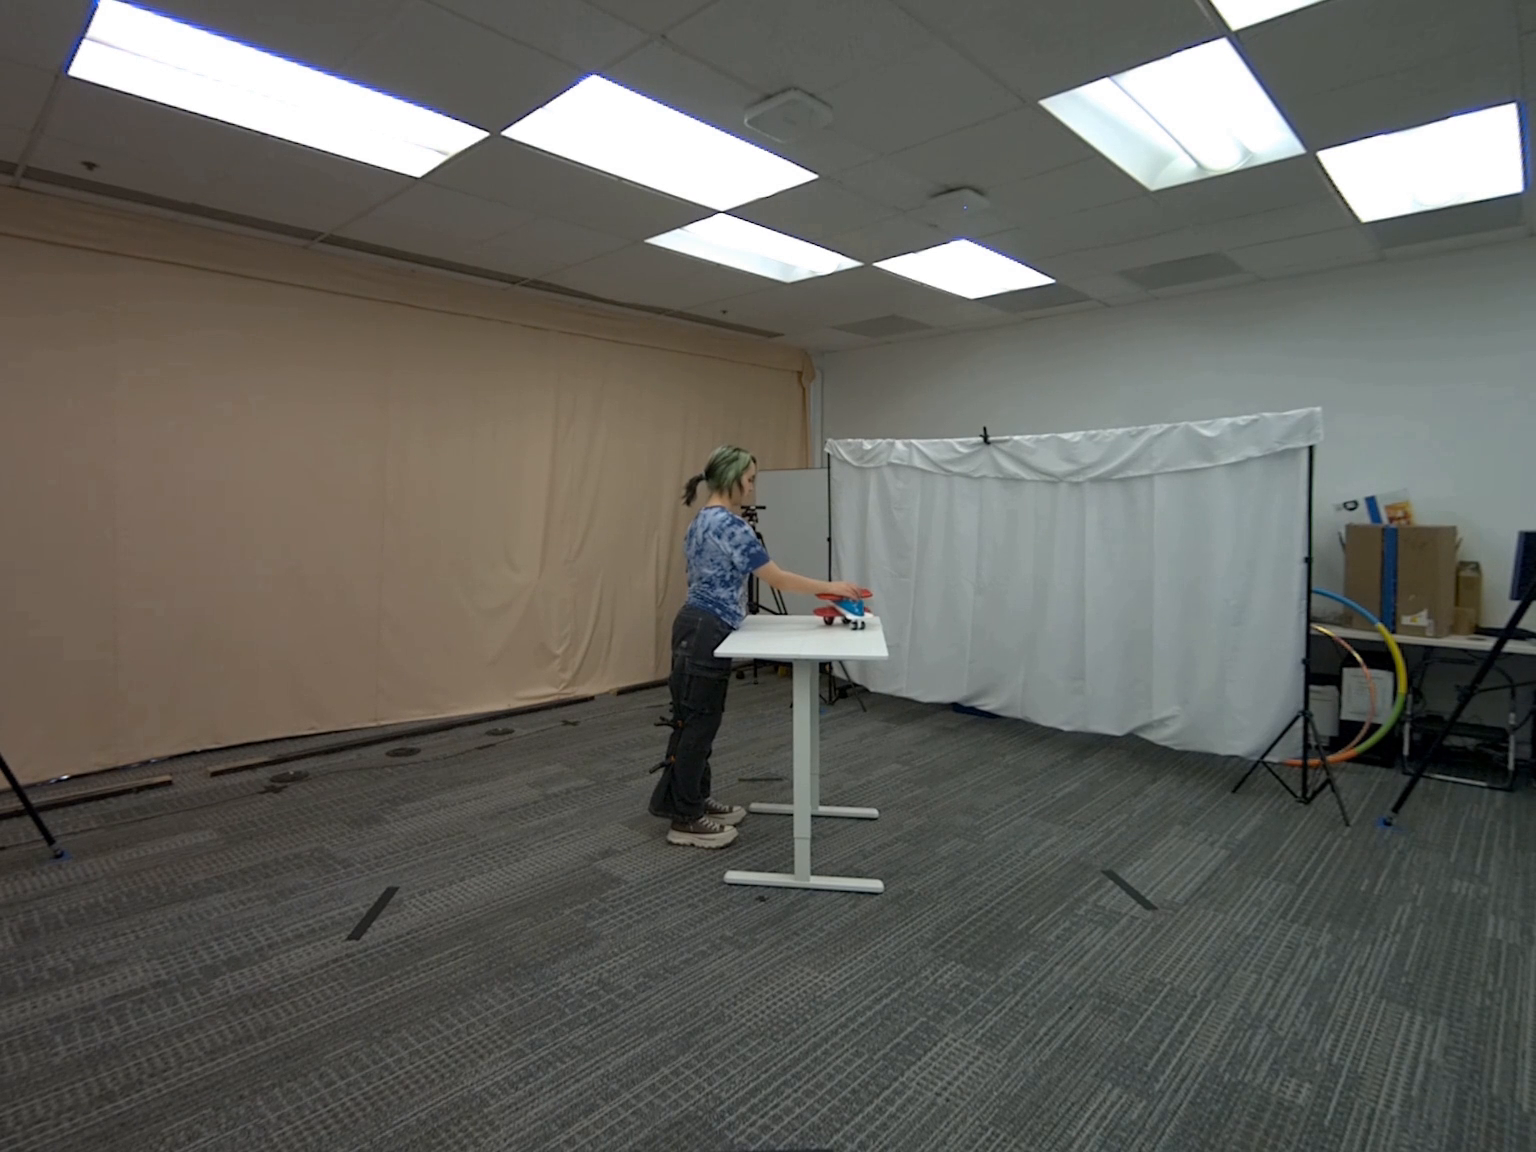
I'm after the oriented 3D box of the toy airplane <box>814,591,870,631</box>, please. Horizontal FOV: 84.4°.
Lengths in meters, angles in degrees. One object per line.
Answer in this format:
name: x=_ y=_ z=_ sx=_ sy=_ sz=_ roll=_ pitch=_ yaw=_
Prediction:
toy airplane: x=0.349 y=0.137 z=3.544 sx=0.268 sy=0.156 sz=0.243 roll=3 pitch=4 yaw=41
